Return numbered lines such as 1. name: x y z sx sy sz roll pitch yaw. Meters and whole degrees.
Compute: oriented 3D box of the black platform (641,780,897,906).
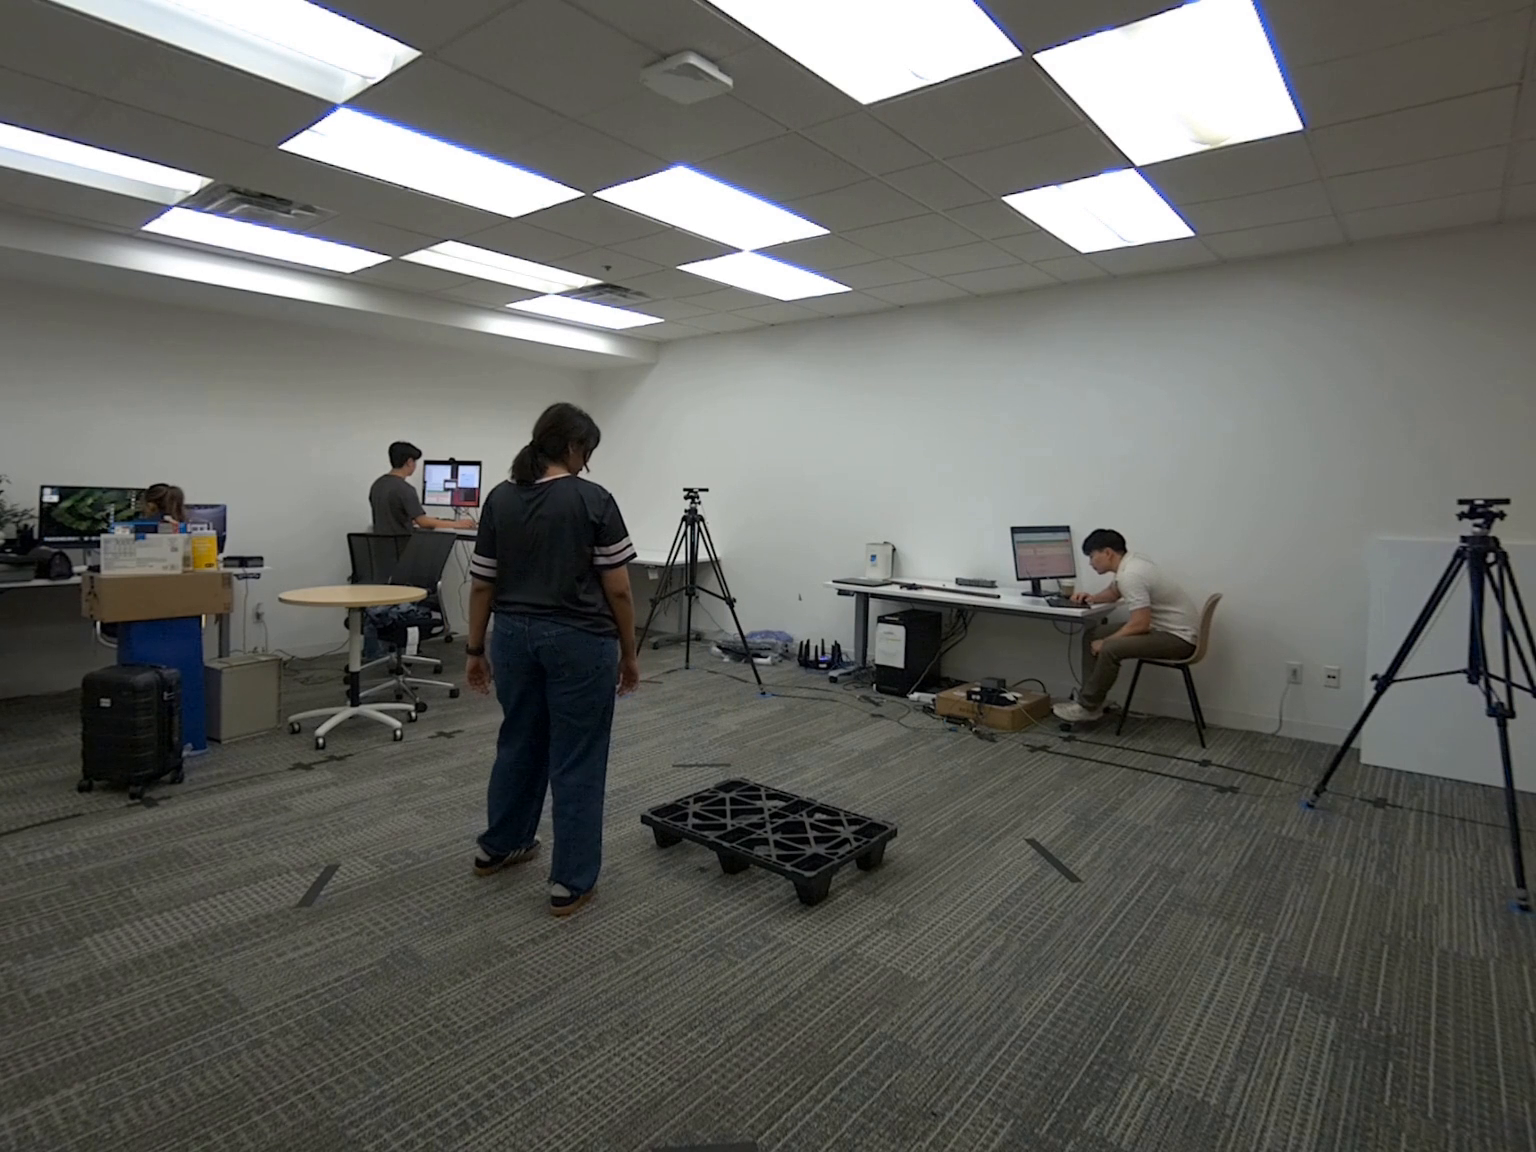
1. black platform: -0.012 0.992 3.255 0.833 0.143 0.587 6 7 39
